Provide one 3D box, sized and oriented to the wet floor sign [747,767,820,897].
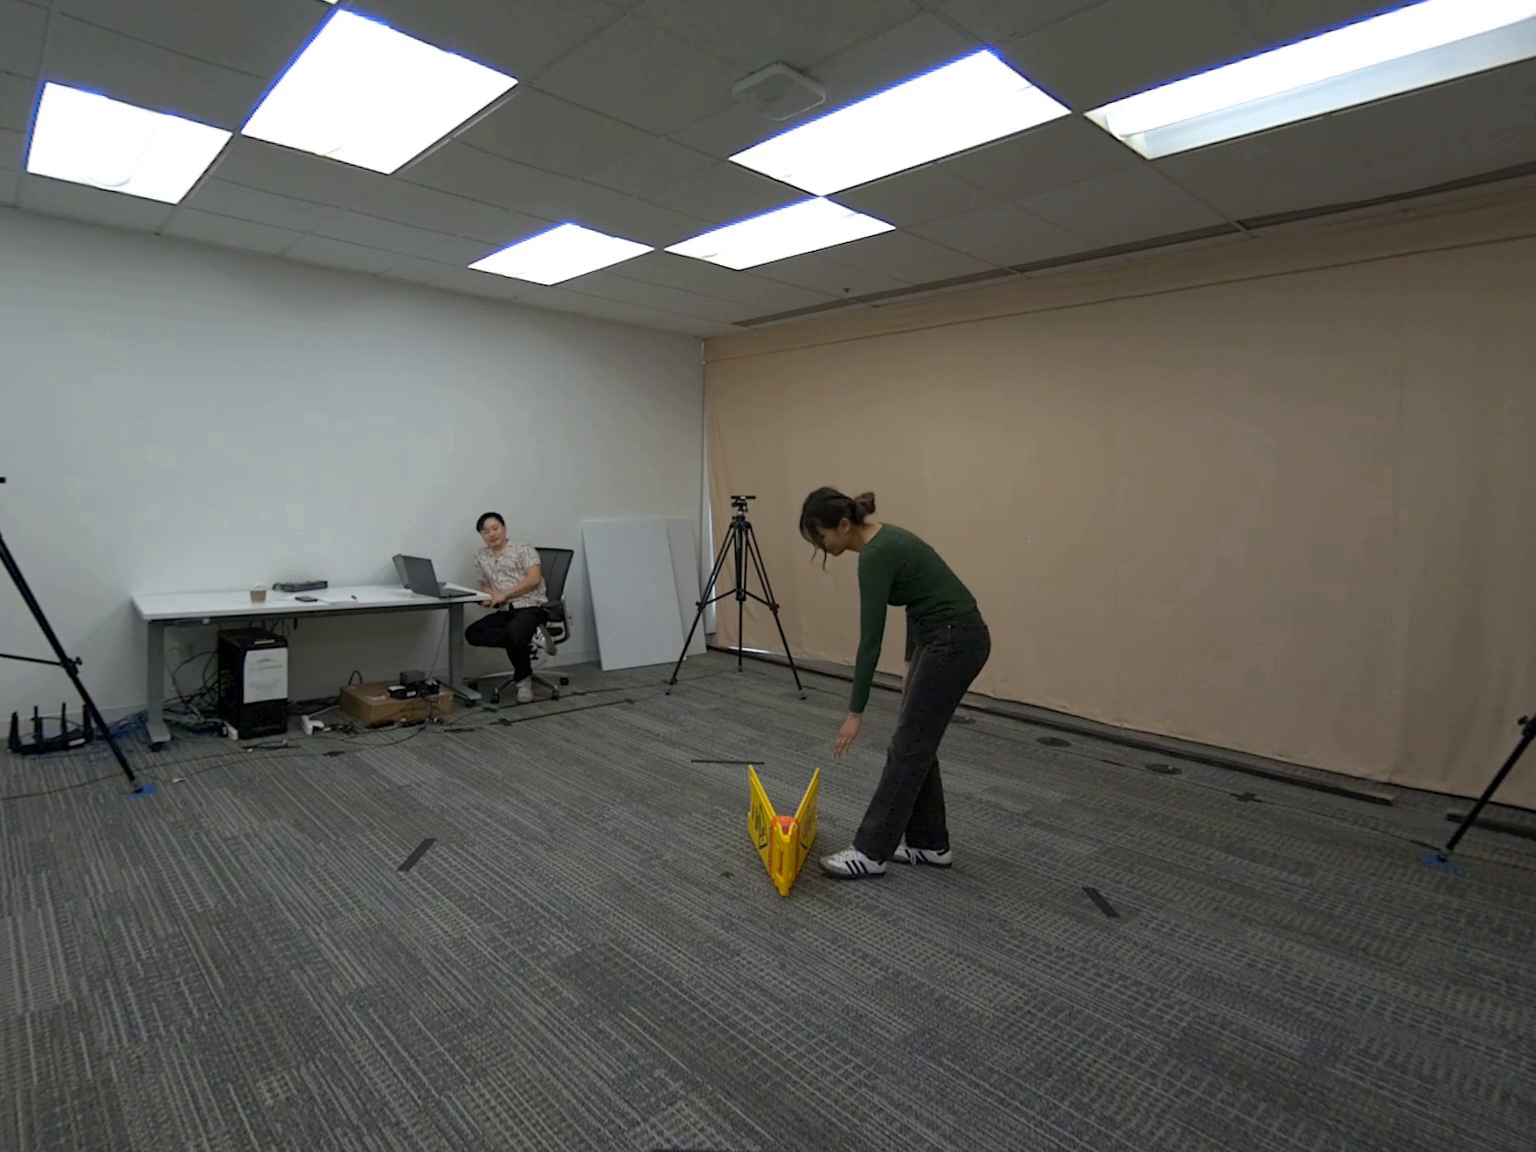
[{"bbox_3d":[0.057,0.965,3.191,0.290,0.281,0.648,2,7,0],"label":"wet floor sign"}]
